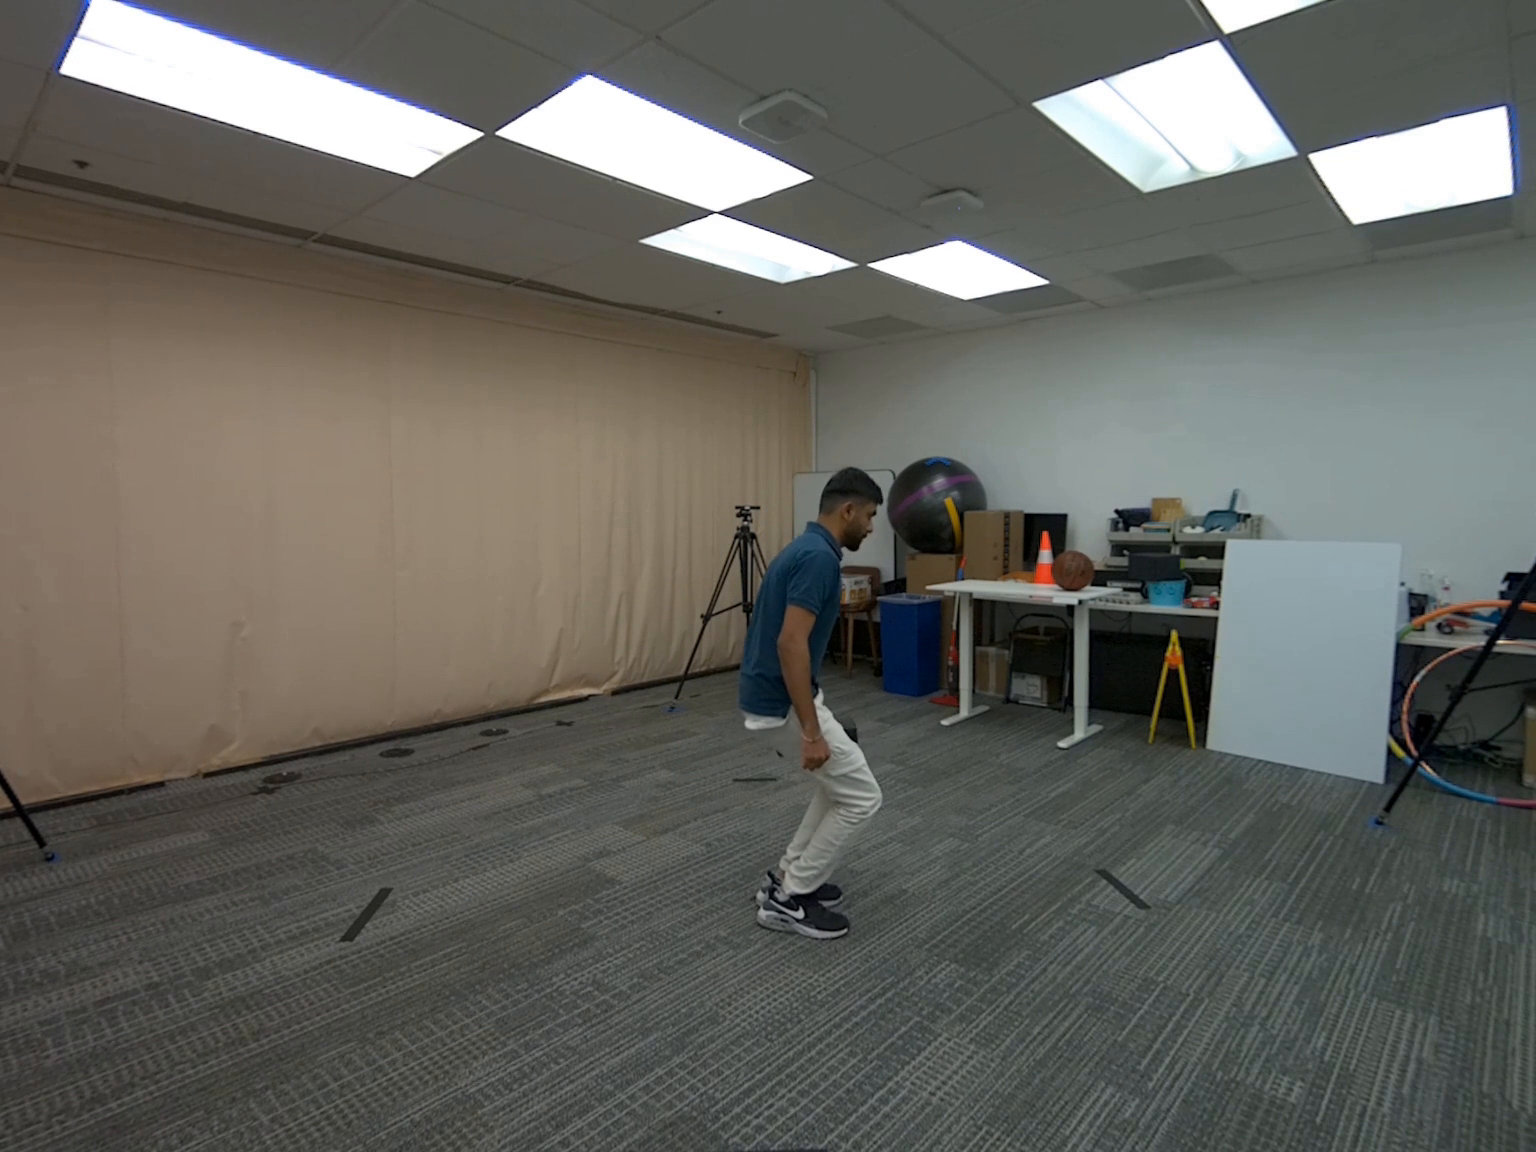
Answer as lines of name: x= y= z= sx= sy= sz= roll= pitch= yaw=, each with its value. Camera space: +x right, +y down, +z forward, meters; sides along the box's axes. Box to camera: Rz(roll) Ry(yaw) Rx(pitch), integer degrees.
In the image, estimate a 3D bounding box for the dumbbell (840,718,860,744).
dumbbell: x=0.178 y=0.584 z=3.061 sx=0.291 sy=0.123 sz=0.109 roll=-3 pitch=1 yaw=-8
